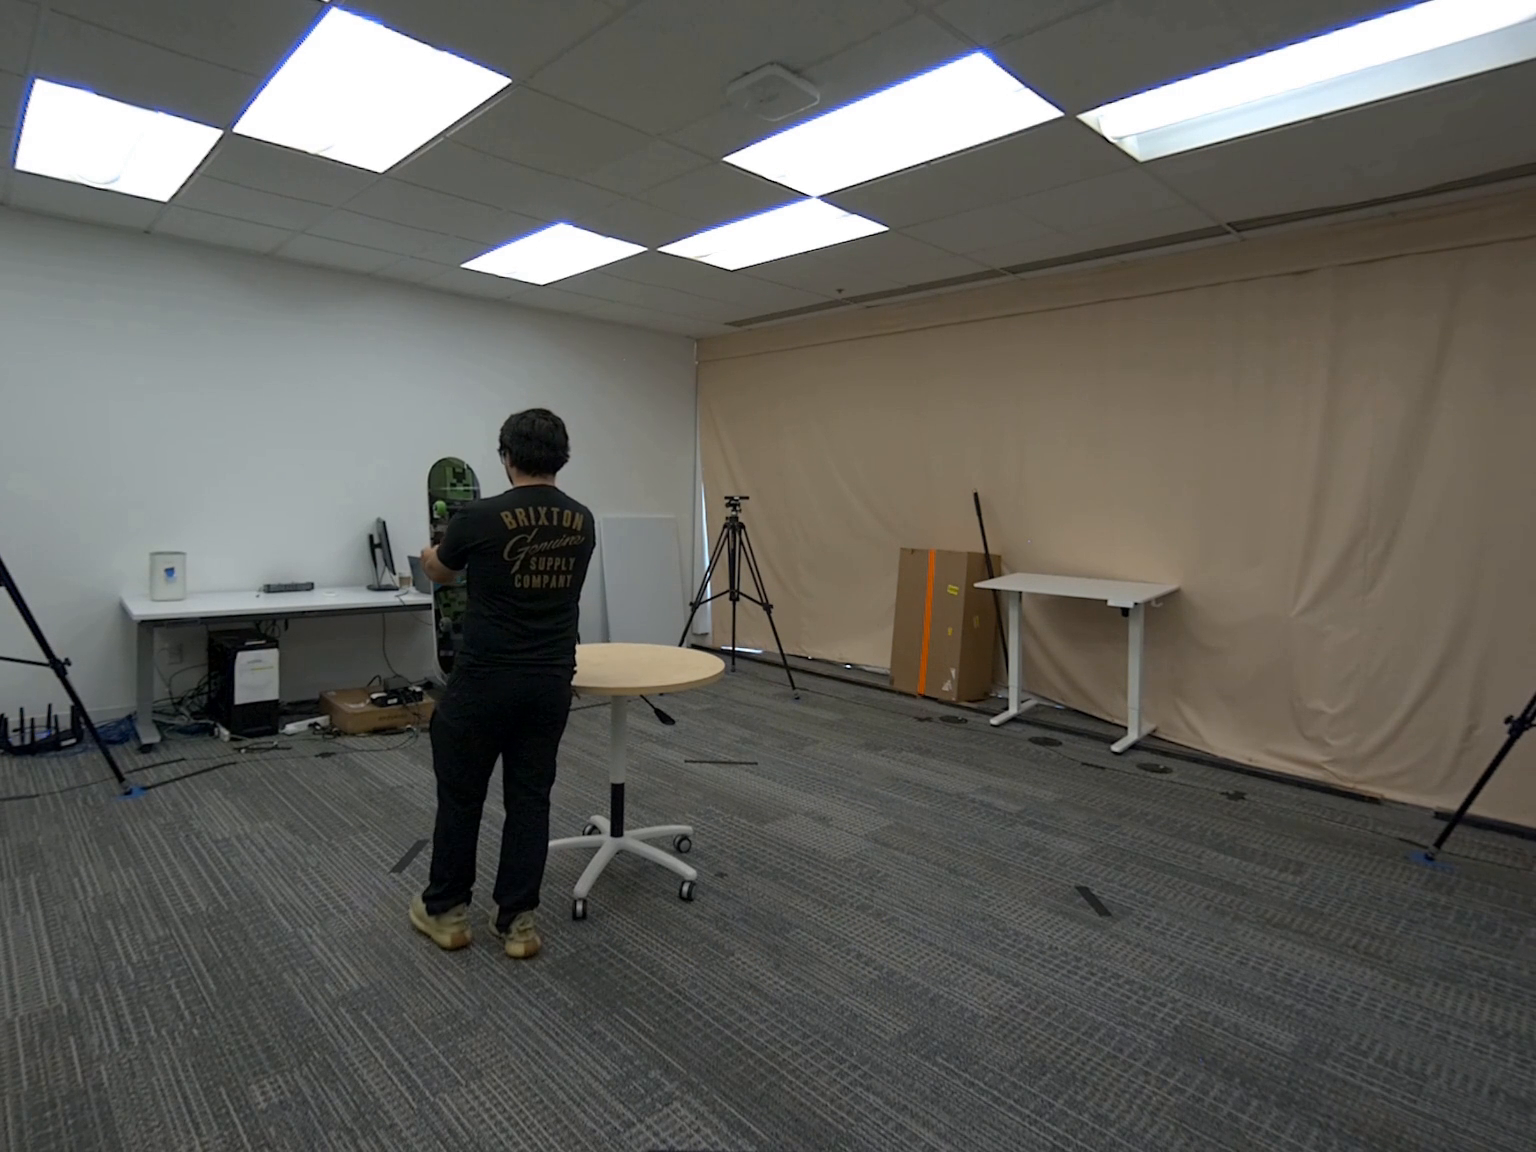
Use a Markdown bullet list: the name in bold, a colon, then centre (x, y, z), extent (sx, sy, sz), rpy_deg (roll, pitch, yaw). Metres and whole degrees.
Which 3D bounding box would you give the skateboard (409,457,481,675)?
- **skateboard**: centre (-1.083, -0.032, 2.945), extent (0.189, 0.787, 0.112), rpy_deg (-2, -4, -40)
